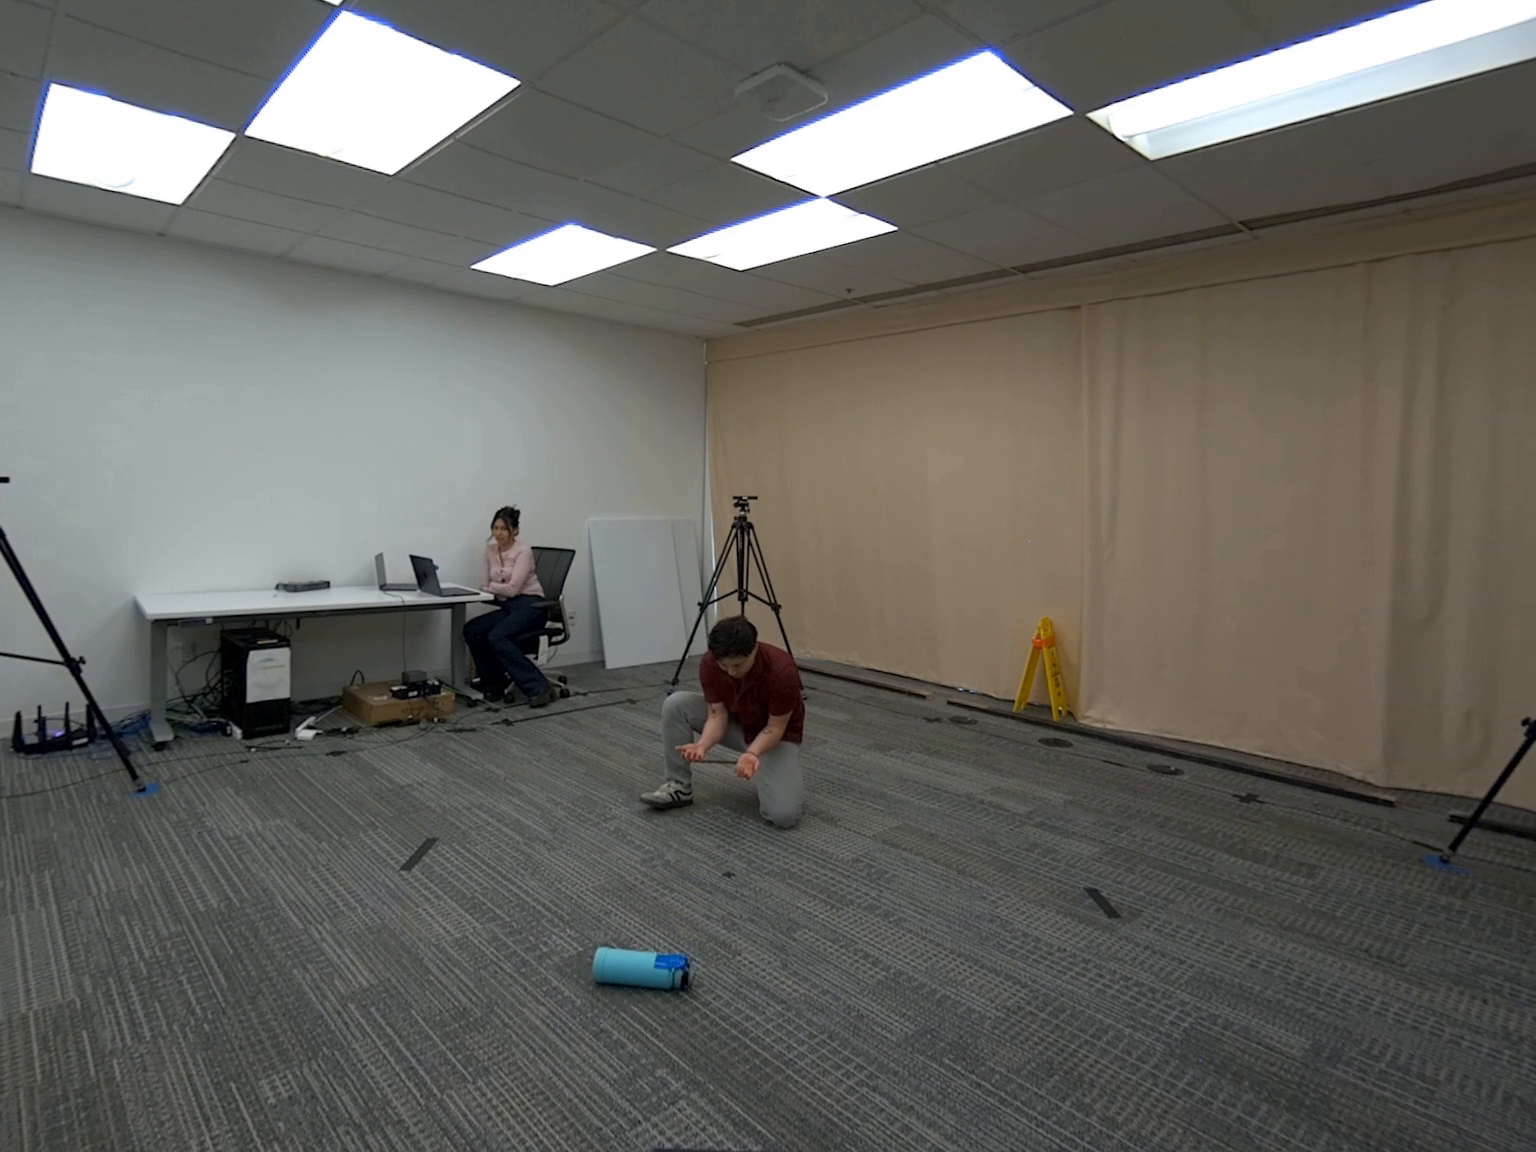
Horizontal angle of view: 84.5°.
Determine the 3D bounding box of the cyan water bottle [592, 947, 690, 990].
[{"bbox_3d":[-0.362,1.119,2.388,0.285,0.092,0.092,2,4,9],"label":"cyan water bottle"}]
